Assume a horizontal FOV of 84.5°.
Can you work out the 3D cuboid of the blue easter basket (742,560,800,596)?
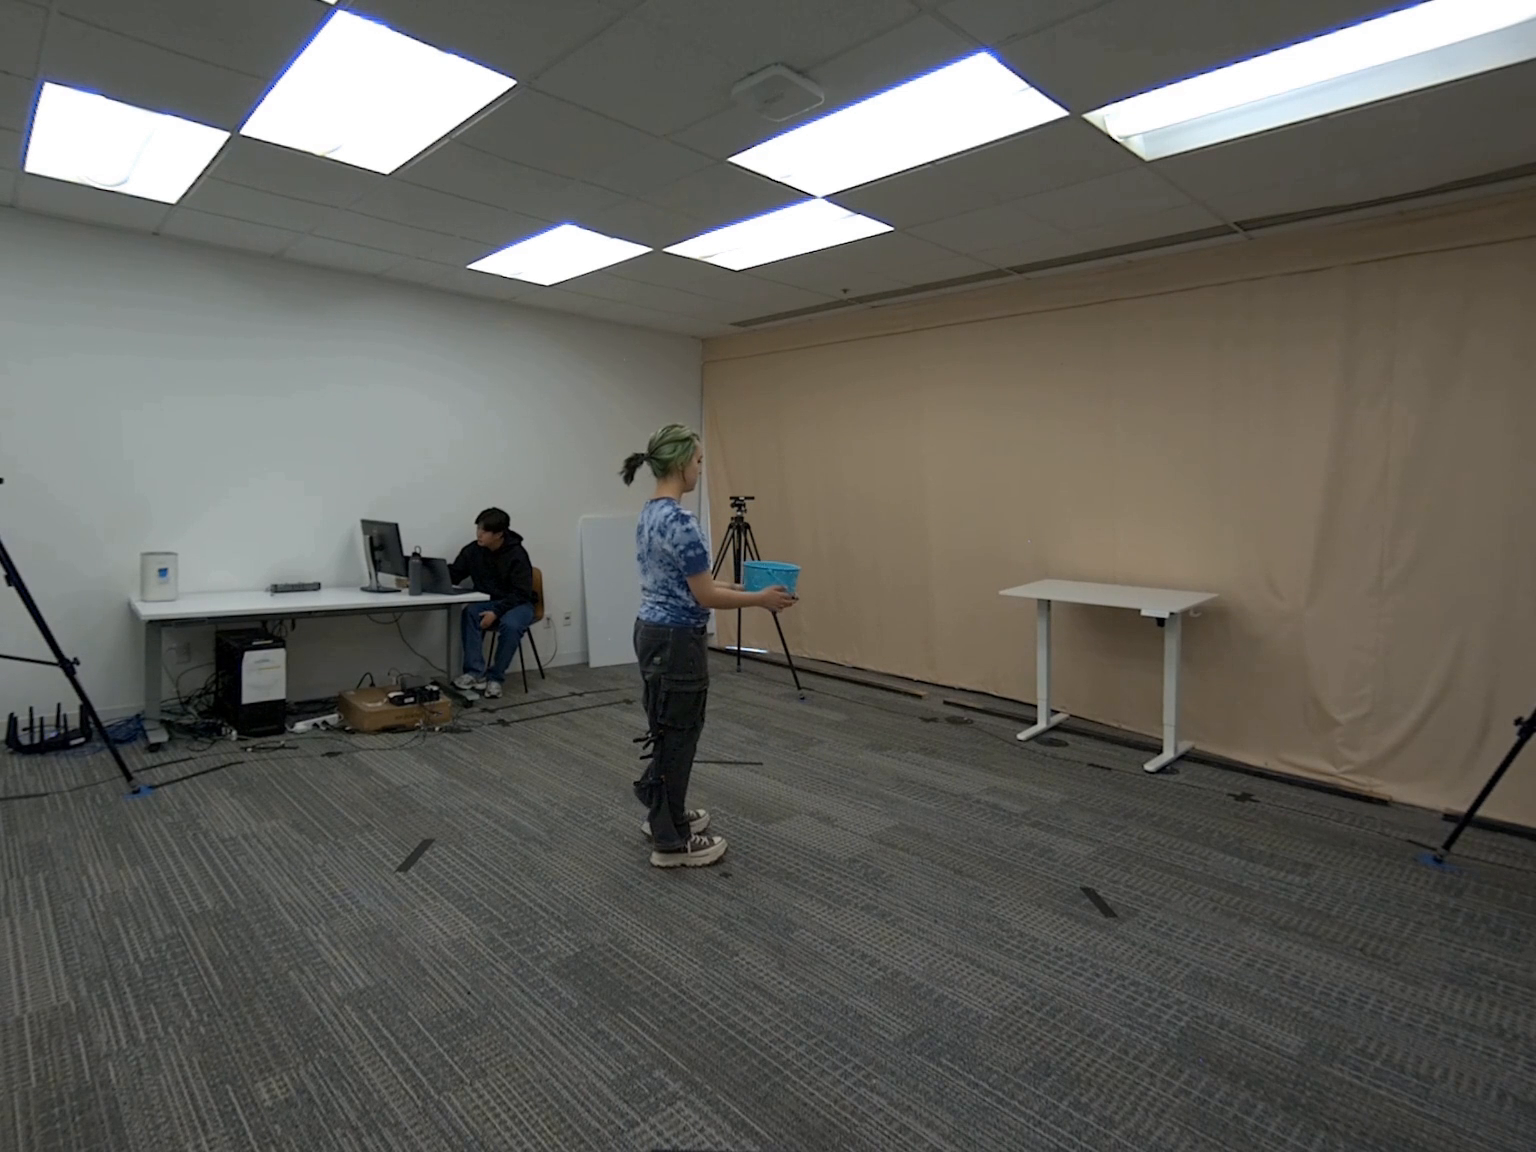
[{"bbox_3d":[-0.006,0.030,3.293,0.243,0.155,0.244,3,5,-2],"label":"blue easter basket"}]
